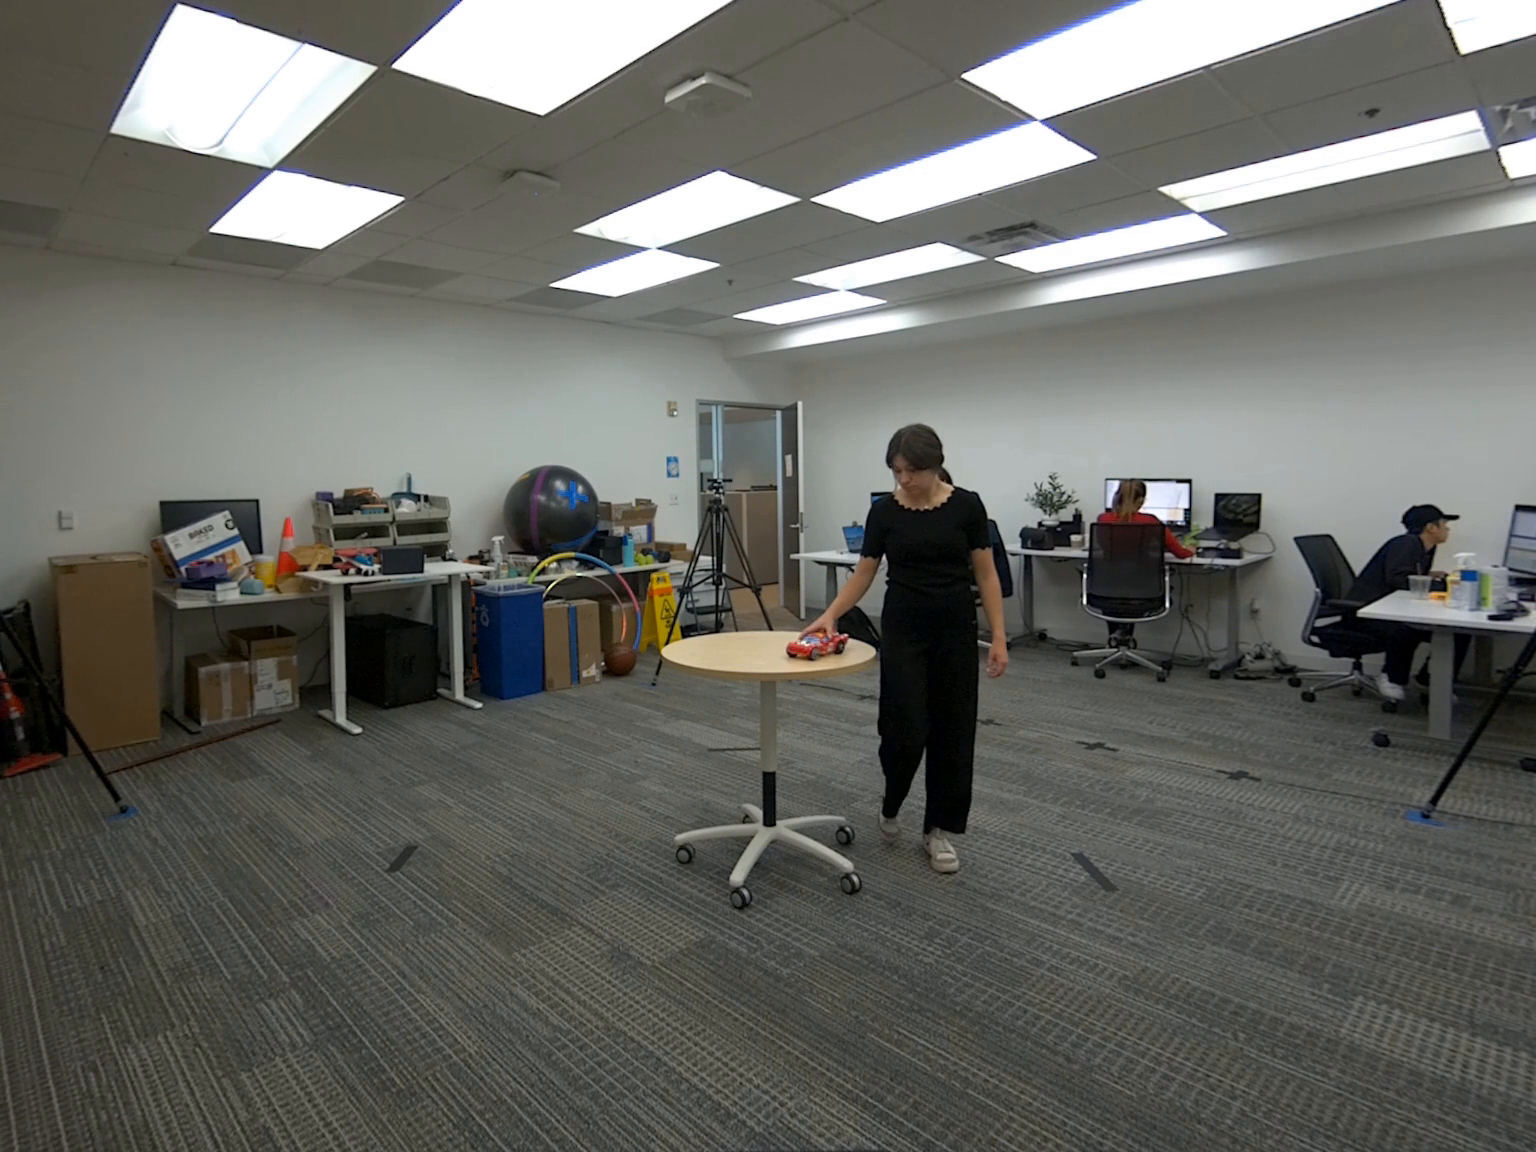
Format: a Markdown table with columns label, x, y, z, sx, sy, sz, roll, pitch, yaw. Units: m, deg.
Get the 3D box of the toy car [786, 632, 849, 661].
| label | x | y | z | sx | sy | sz | roll | pitch | yaw |
| --- | --- | --- | --- | --- | --- | --- | --- | --- | --- |
| toy car | 0.188 | 0.242 | 2.969 | 0.134 | 0.082 | 0.250 | 5 | 19 | 42 |
